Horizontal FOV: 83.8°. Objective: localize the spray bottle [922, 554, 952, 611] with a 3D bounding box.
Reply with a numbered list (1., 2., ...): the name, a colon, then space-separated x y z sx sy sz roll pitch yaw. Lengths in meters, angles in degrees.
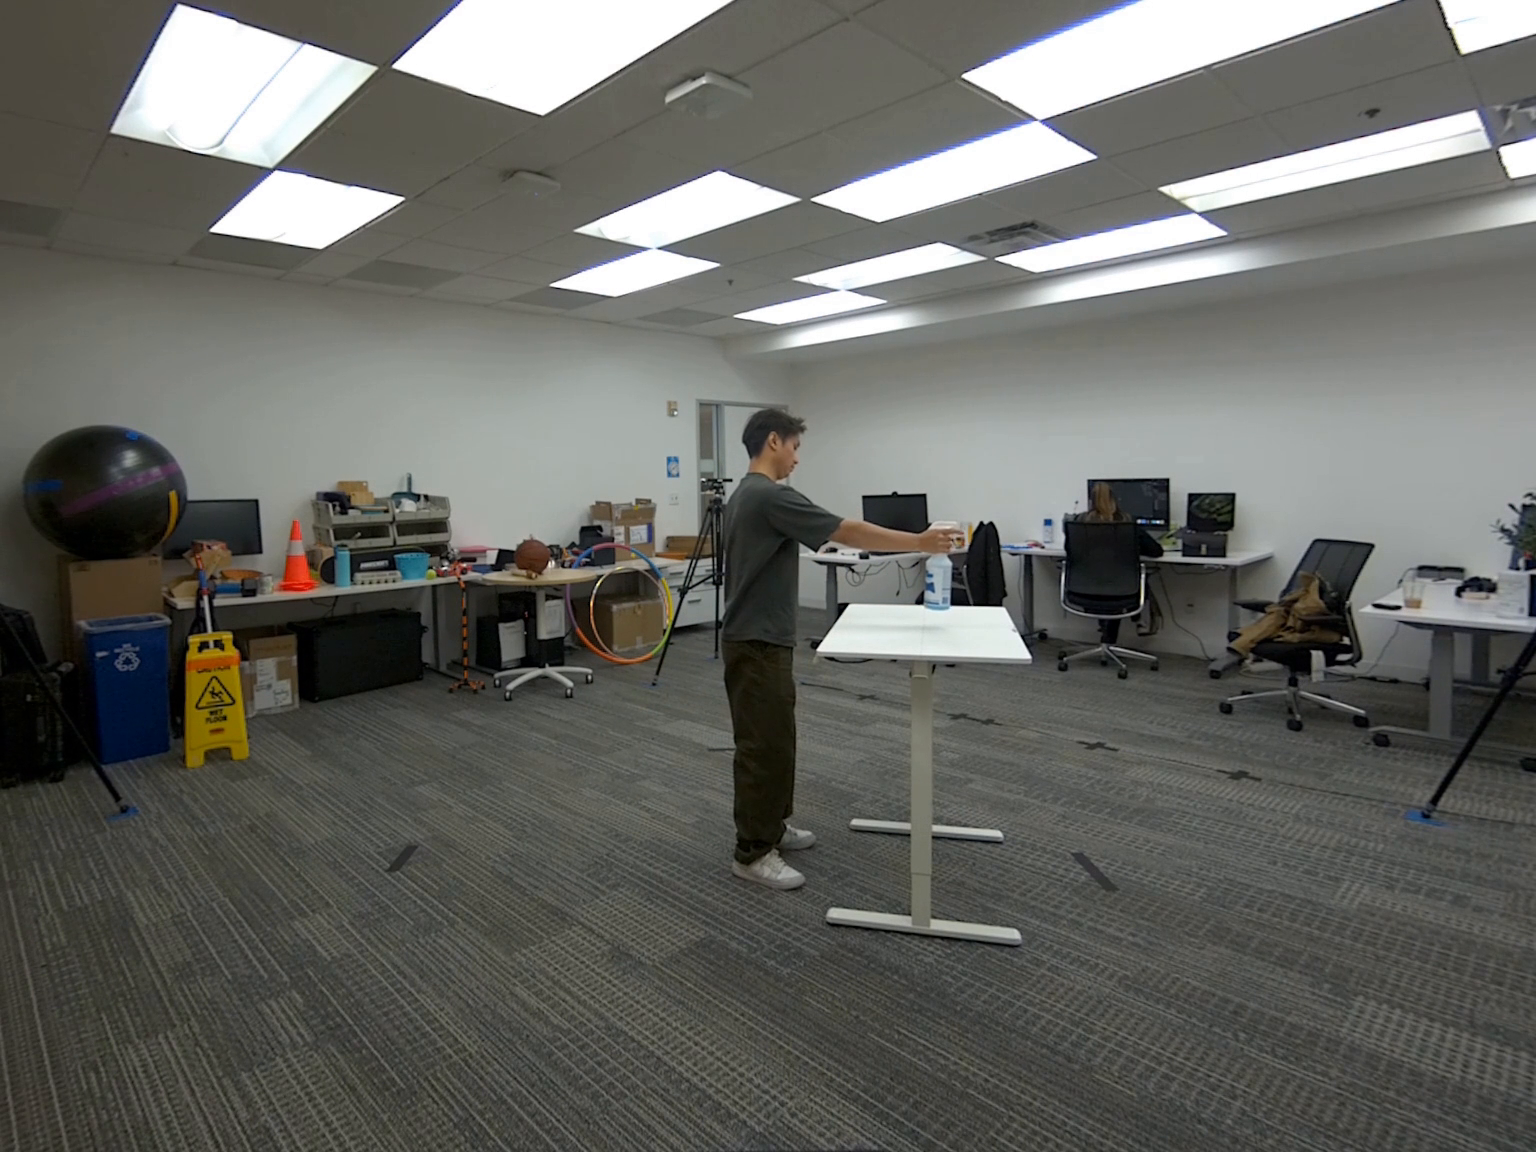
1. spray bottle: 0.578 -0.033 2.874 0.093 0.296 0.085 5 4 35
